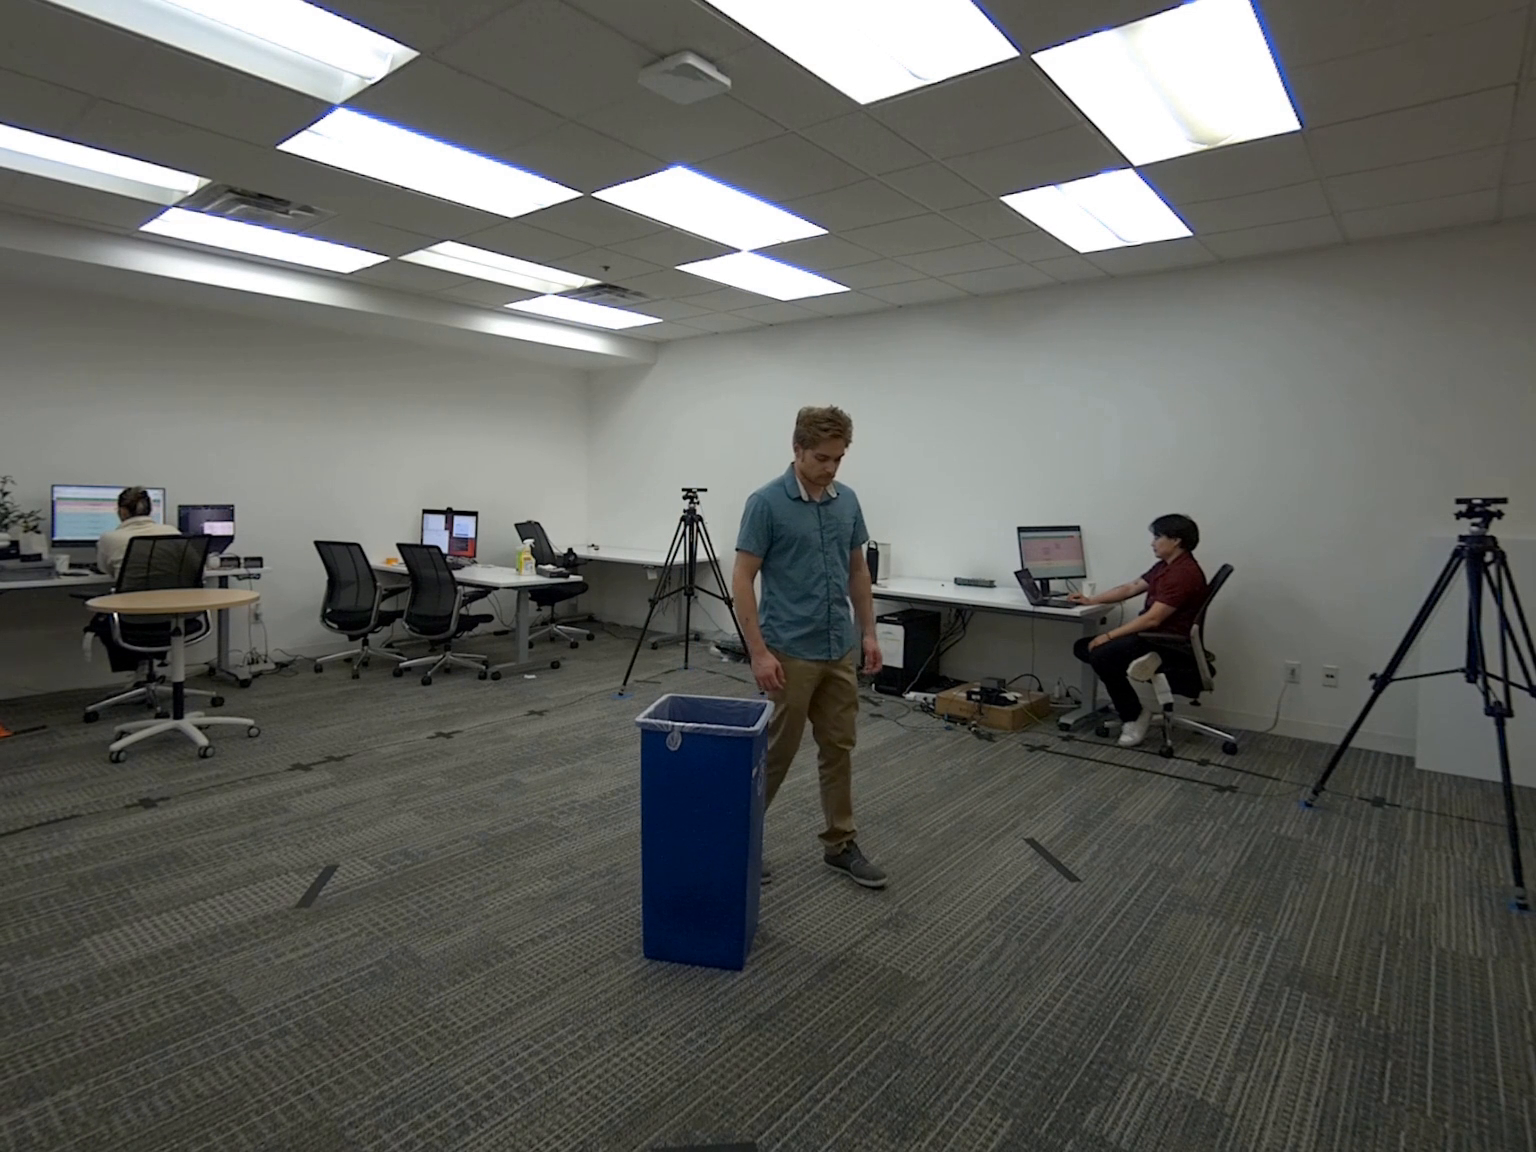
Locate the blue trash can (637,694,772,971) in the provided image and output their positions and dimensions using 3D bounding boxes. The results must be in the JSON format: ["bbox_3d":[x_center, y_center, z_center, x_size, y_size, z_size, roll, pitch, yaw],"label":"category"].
[{"bbox_3d":[-0.204,0.762,2.610,0.383,0.711,0.371,2,3,10],"label":"blue trash can"}]
